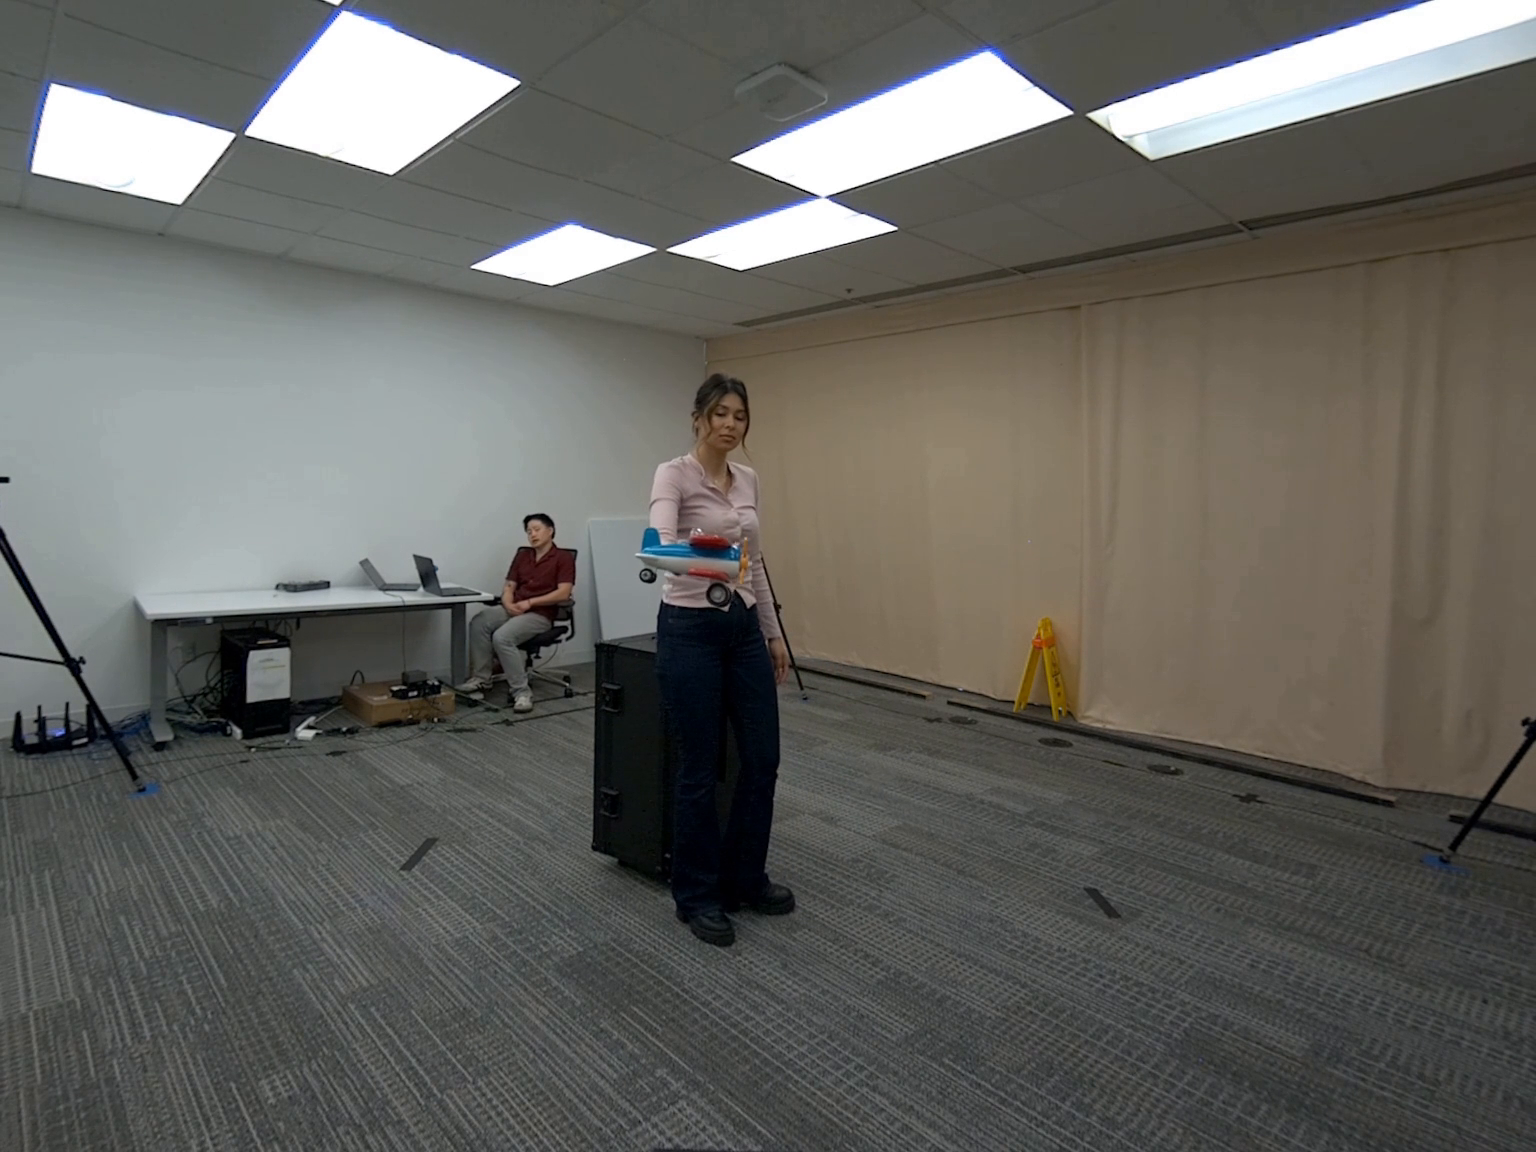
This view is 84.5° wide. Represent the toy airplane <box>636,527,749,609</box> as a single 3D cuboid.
[{"bbox_3d":[-0.188,-0.026,1.958,0.254,0.156,0.256,20,-3,-23],"label":"toy airplane"}]
